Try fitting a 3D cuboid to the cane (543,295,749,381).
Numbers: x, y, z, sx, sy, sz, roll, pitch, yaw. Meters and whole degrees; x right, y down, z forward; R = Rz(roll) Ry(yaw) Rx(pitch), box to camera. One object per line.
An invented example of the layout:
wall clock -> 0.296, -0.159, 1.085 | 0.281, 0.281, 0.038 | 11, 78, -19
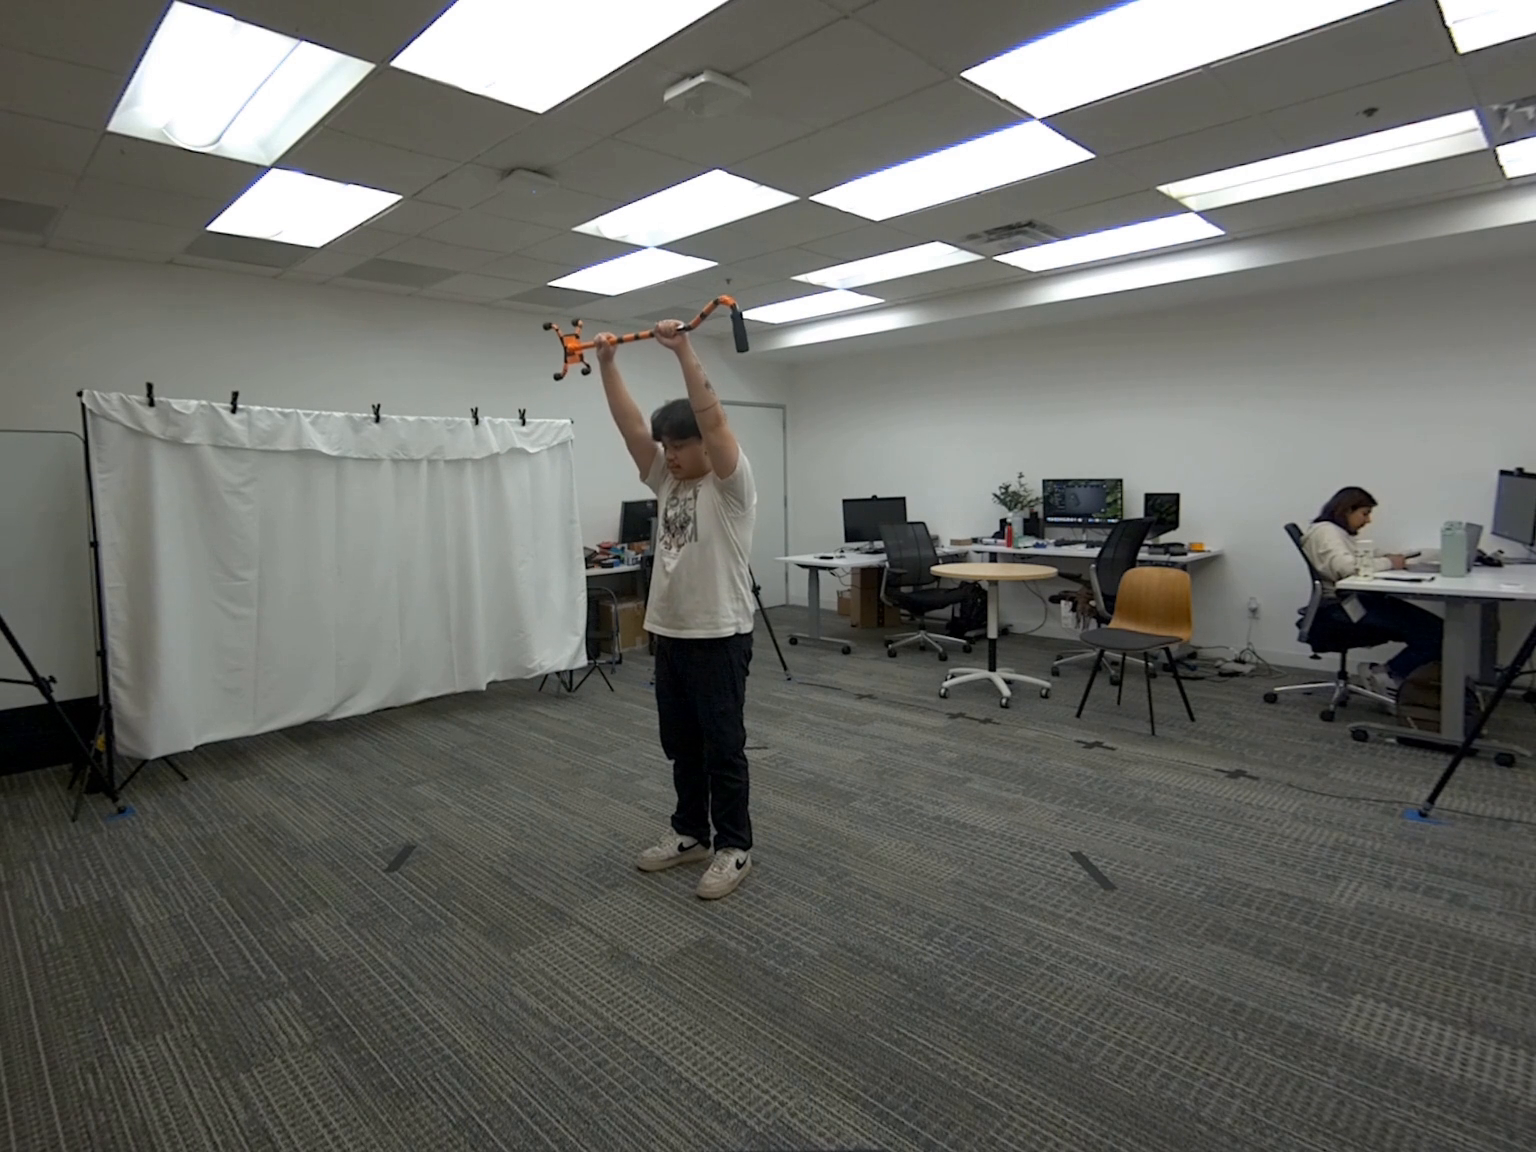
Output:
cane -> -0.399, -0.768, 2.730 | 0.937, 0.203, 0.149 | 7, 22, 45
